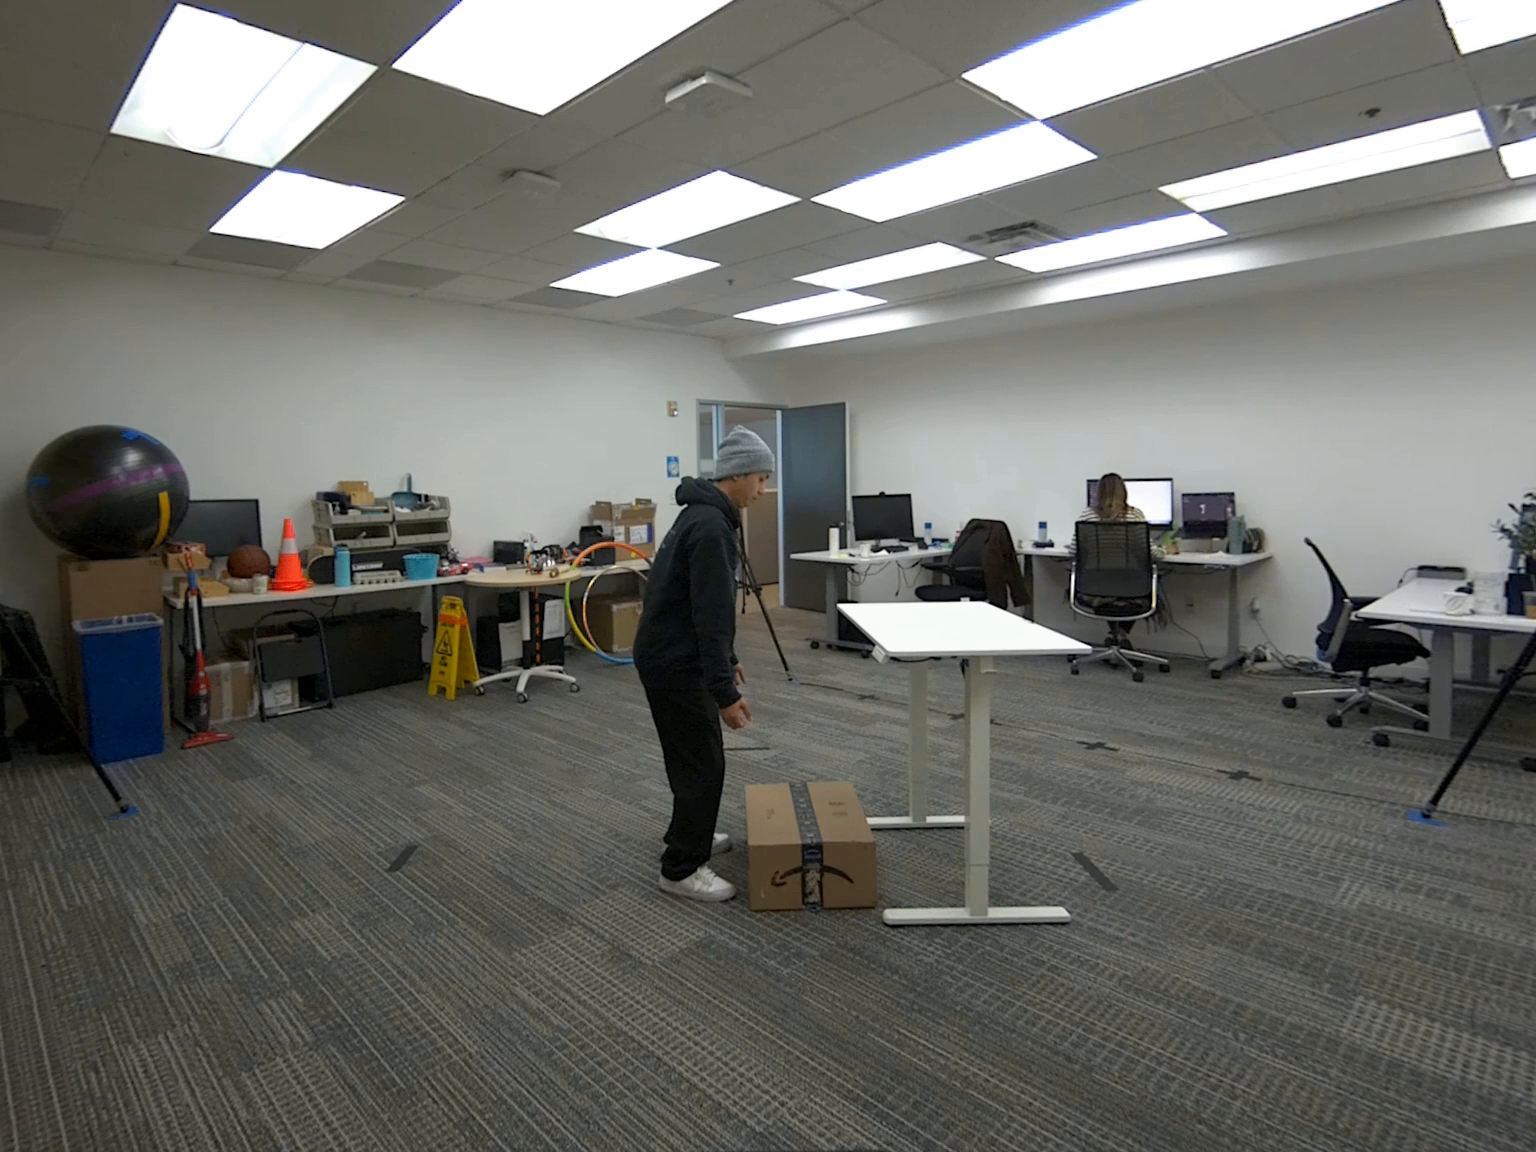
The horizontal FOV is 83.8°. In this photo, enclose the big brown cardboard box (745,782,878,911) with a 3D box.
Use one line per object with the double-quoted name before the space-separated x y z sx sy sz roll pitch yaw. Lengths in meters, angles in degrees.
"big brown cardboard box" 0.133 0.937 3.029 0.417 0.232 0.593 -1 7 -2
